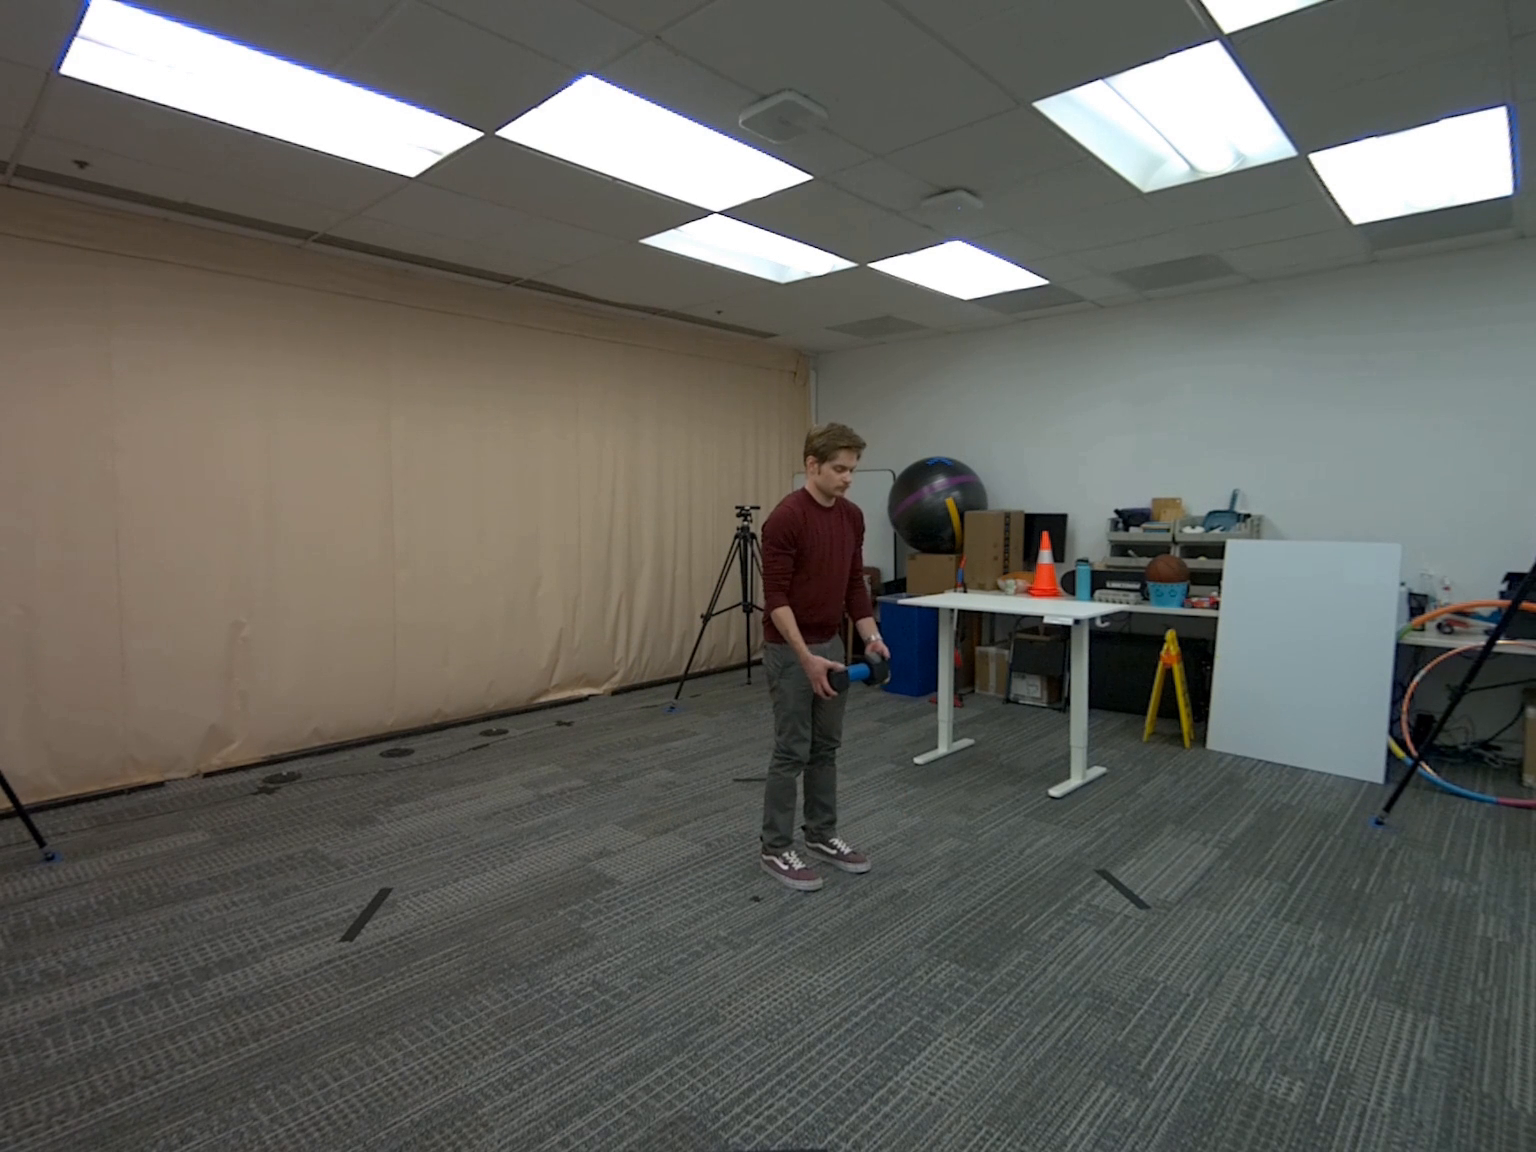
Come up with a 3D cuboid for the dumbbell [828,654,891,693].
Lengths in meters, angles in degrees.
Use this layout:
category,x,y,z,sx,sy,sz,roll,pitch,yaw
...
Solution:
category,x,y,z,sx,sy,sz,roll,pitch,yaw
dumbbell,0.311,0.342,3.051,0.285,0.122,0.112,-8,10,-39
